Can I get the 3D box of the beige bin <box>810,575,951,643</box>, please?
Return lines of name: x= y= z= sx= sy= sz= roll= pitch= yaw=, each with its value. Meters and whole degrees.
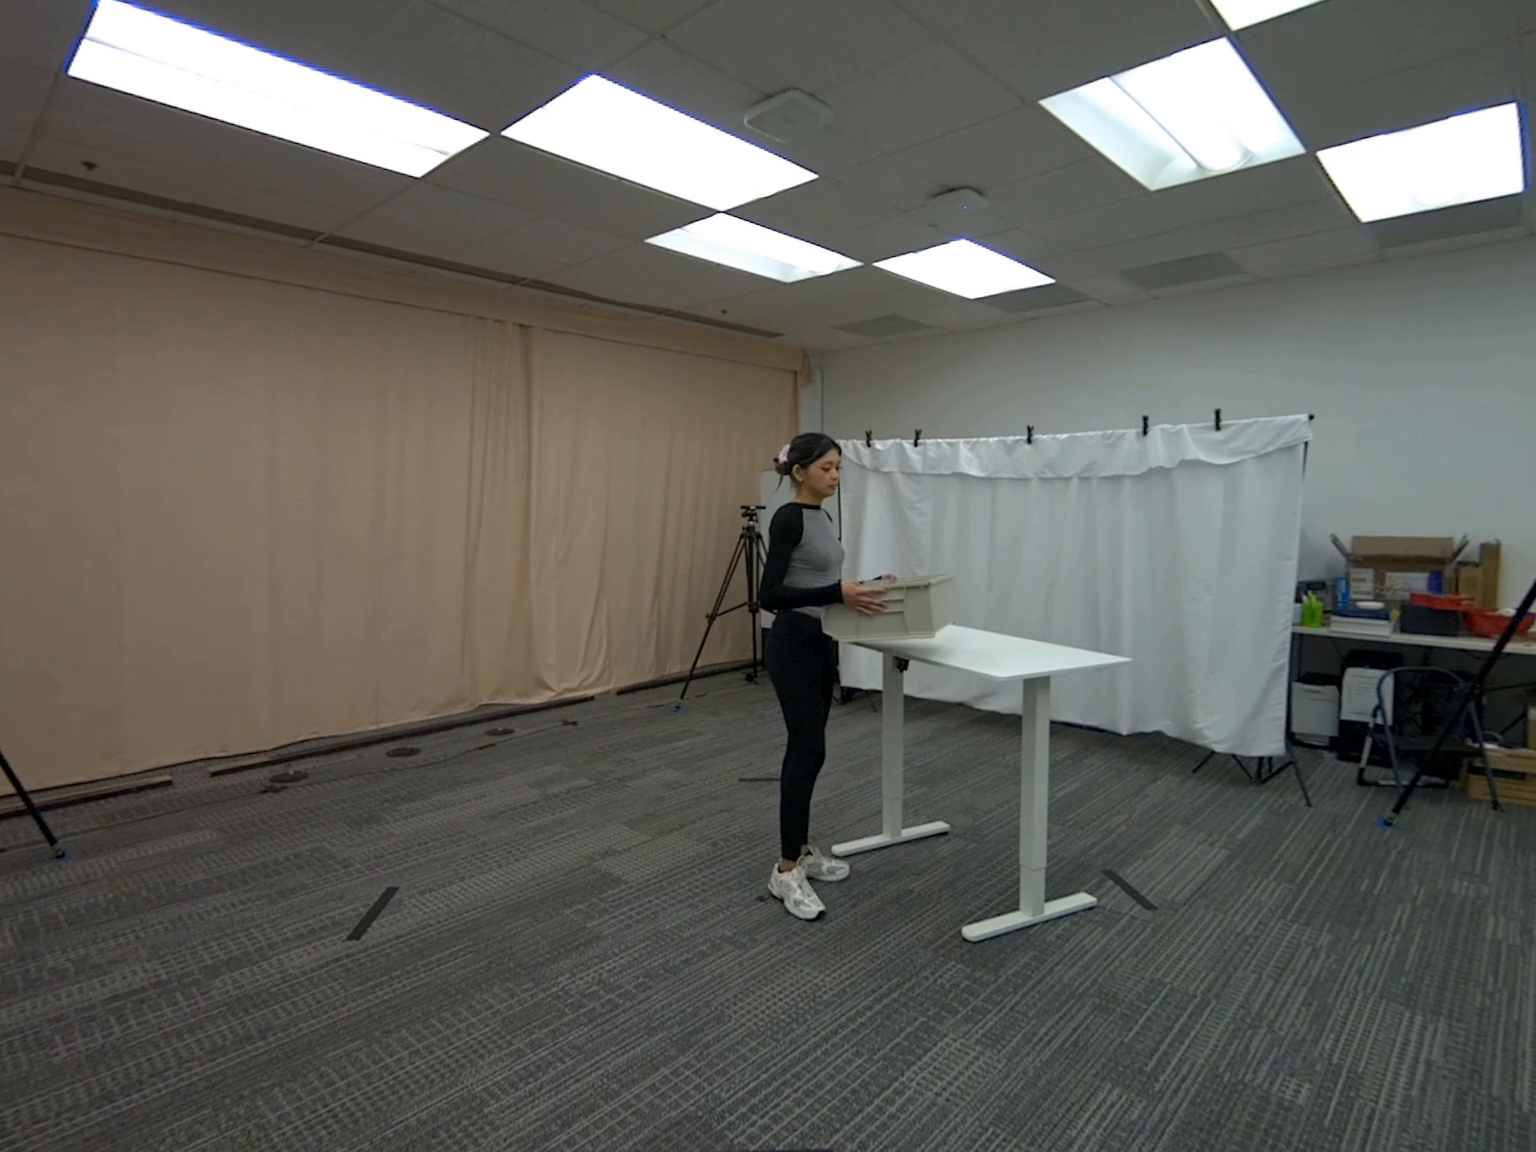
beige bin: x=0.431 y=0.110 z=2.905 sx=0.387 sy=0.189 sz=0.412 roll=-3 pitch=1 yaw=25
